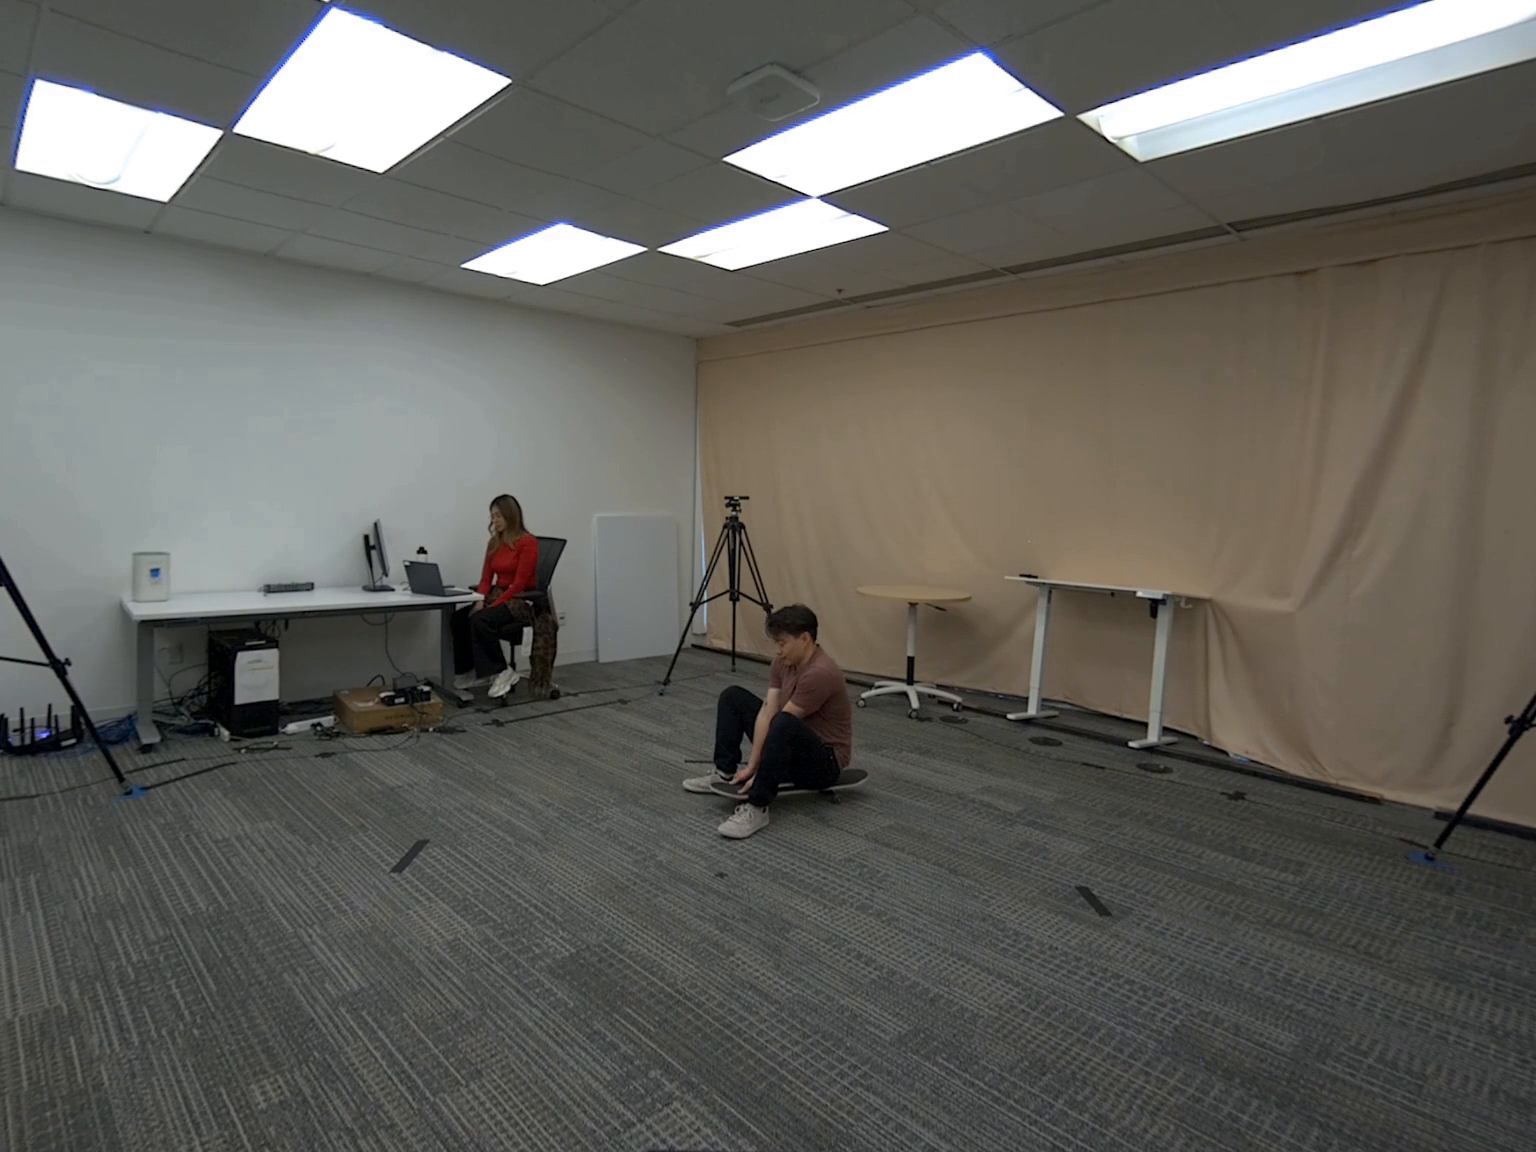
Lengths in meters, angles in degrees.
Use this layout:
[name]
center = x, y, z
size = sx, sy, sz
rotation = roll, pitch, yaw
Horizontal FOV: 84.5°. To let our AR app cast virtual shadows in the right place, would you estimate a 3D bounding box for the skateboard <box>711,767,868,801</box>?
[skateboard]
center = 0.095, 0.994, 3.888
size = 0.772, 0.110, 0.197
rotation = -1, 5, -23
